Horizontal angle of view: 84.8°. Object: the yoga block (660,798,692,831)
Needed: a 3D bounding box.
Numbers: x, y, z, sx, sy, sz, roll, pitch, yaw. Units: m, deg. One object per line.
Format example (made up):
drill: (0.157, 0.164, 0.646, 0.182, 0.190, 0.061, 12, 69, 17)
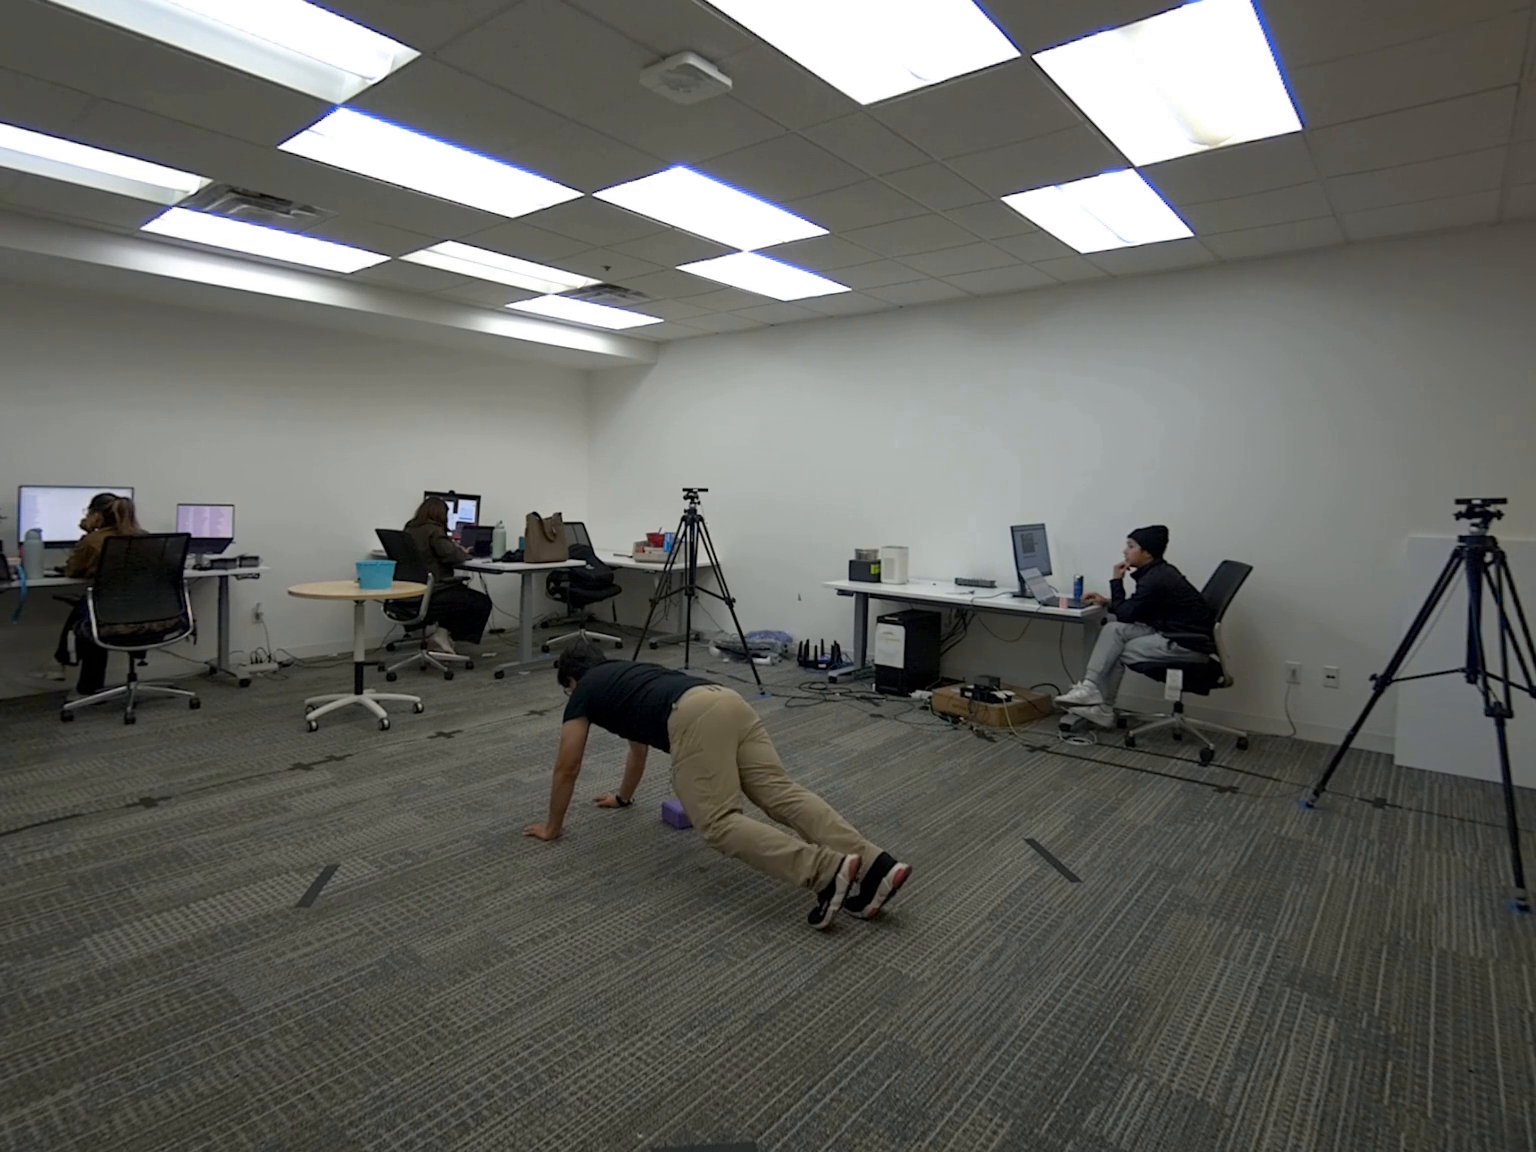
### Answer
yoga block: (-0.326, 0.975, 3.583, 0.222, 0.076, 0.154, -2, 6, -37)
